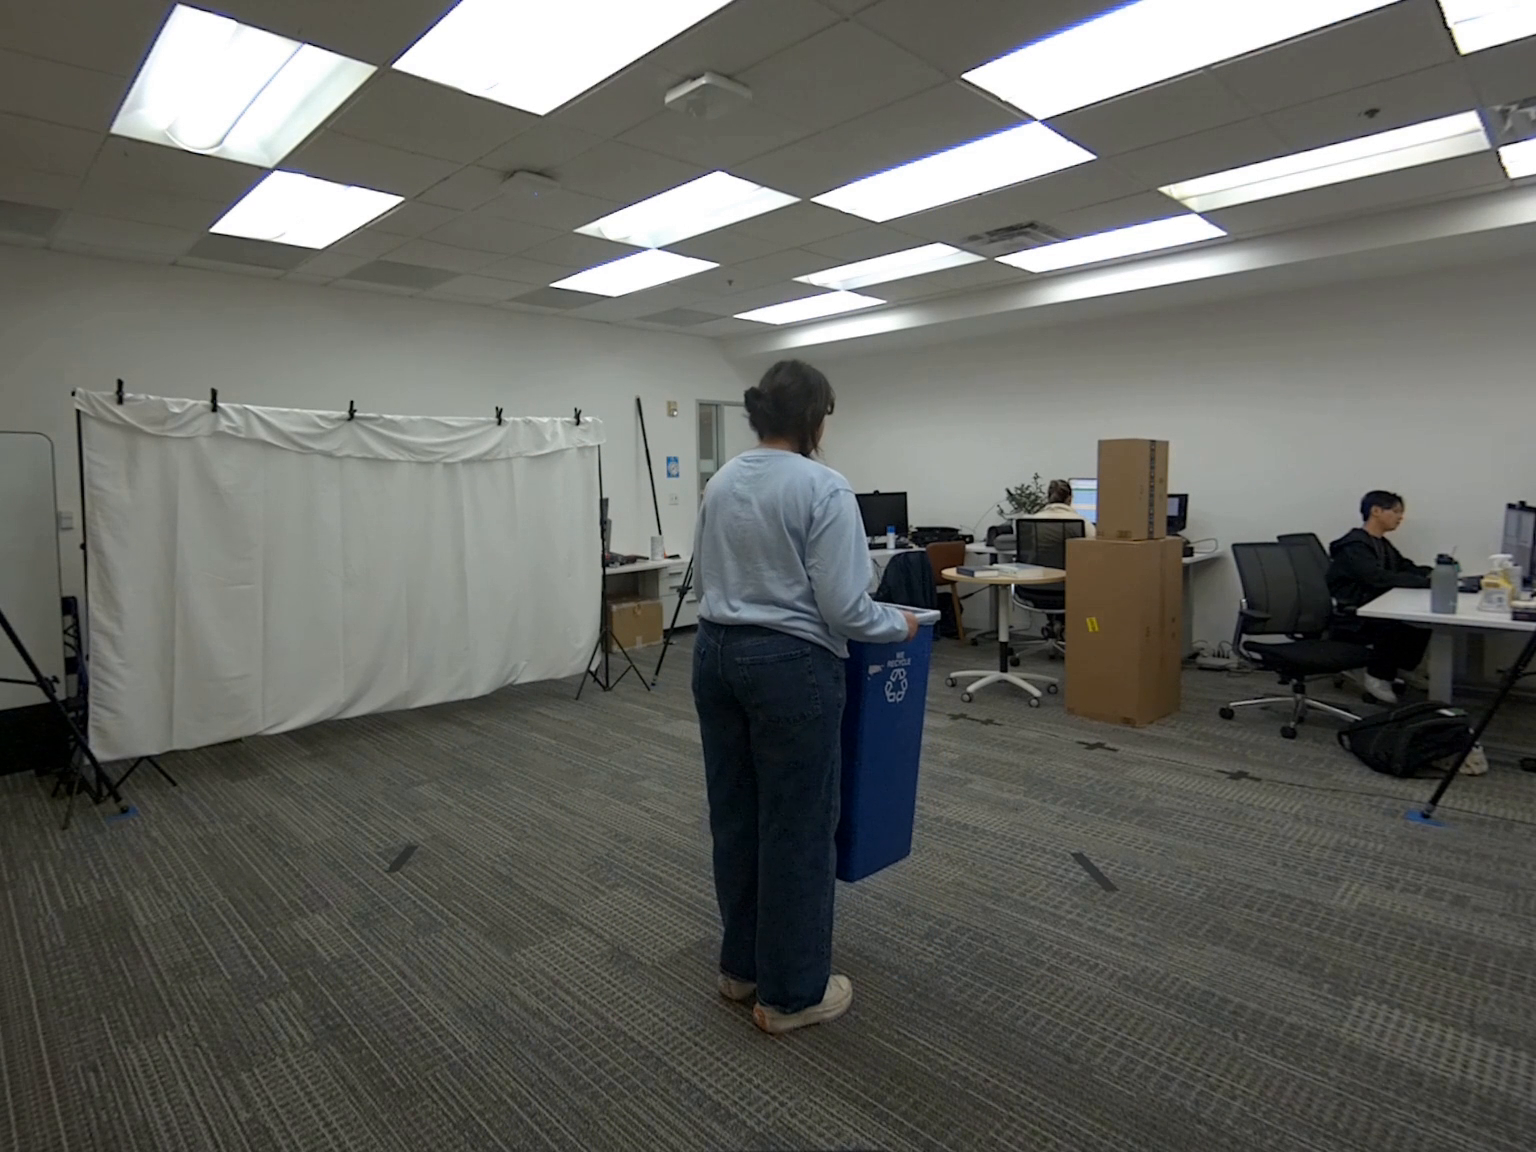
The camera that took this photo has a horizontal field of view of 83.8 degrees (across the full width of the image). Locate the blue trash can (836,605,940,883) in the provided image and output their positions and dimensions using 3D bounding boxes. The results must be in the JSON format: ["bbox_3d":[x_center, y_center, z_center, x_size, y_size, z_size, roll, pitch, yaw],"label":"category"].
[{"bbox_3d":[0.240,0.447,2.460,0.390,0.712,0.363,6,4,44],"label":"blue trash can"}]
